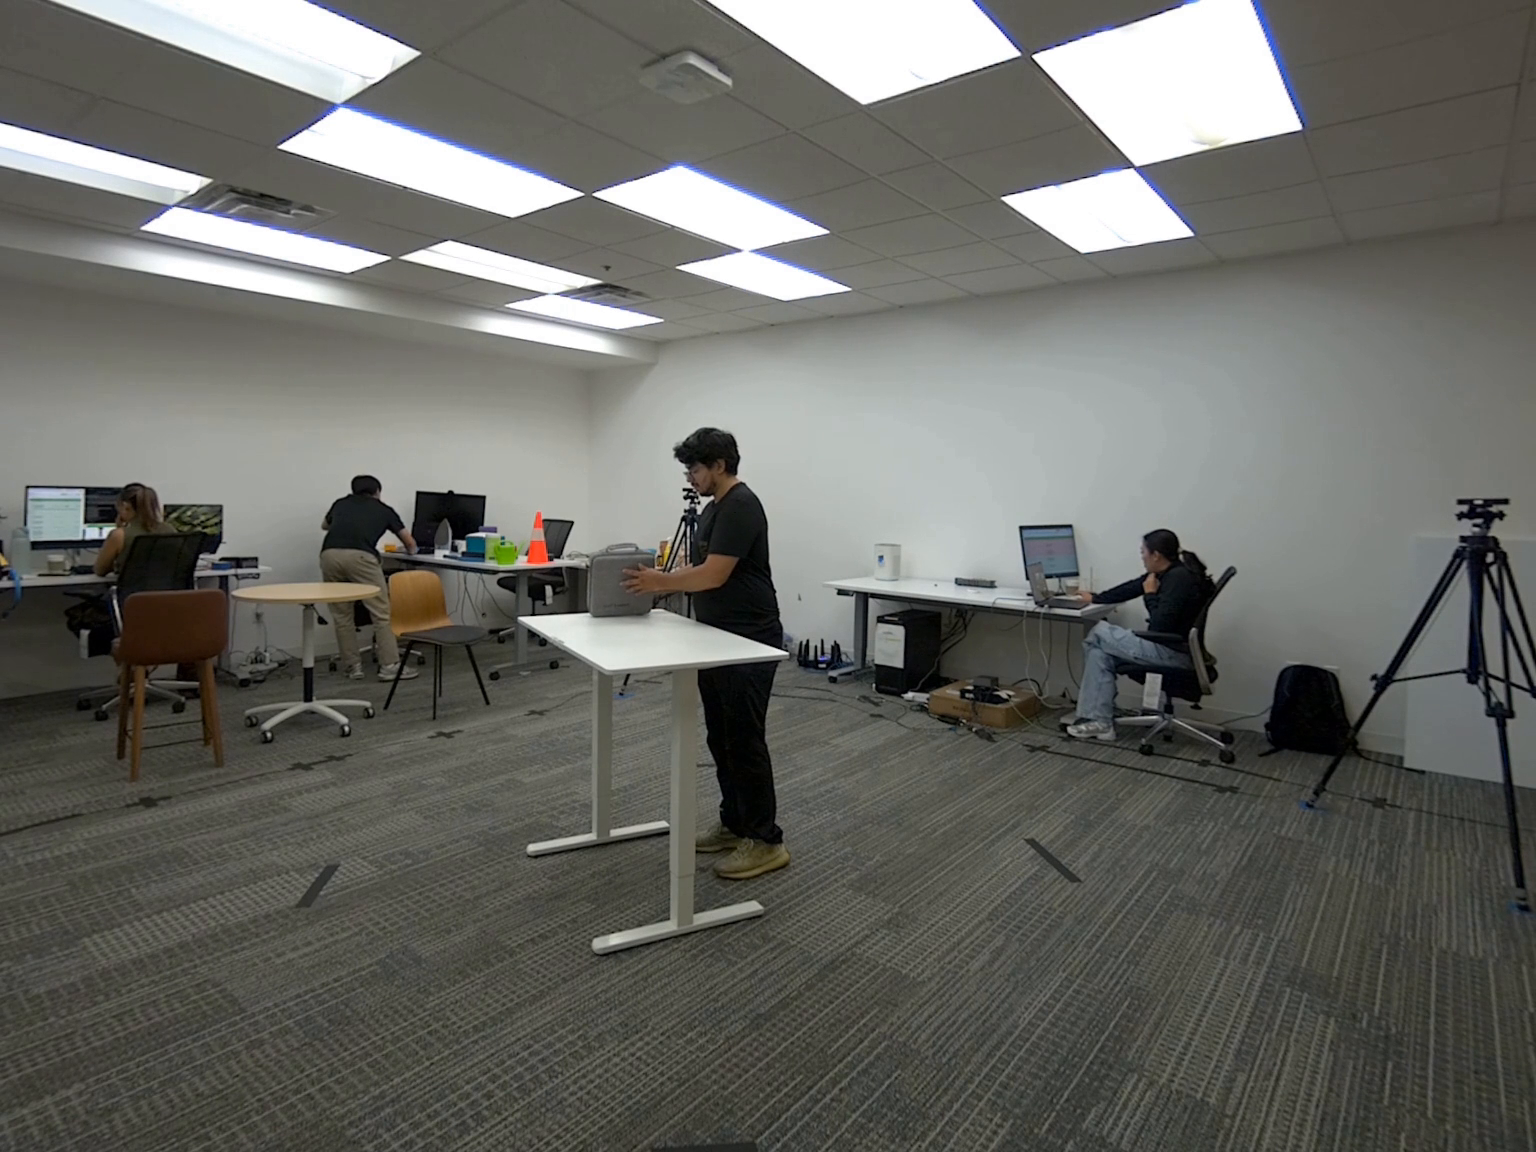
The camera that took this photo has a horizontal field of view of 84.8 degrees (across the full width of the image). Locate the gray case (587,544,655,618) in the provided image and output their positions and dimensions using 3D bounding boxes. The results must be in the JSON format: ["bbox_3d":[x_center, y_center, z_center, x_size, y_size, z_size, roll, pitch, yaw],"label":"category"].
[{"bbox_3d":[-0.591,0.026,3.334,0.251,0.257,0.108,-2,16,-22],"label":"gray case"}]
